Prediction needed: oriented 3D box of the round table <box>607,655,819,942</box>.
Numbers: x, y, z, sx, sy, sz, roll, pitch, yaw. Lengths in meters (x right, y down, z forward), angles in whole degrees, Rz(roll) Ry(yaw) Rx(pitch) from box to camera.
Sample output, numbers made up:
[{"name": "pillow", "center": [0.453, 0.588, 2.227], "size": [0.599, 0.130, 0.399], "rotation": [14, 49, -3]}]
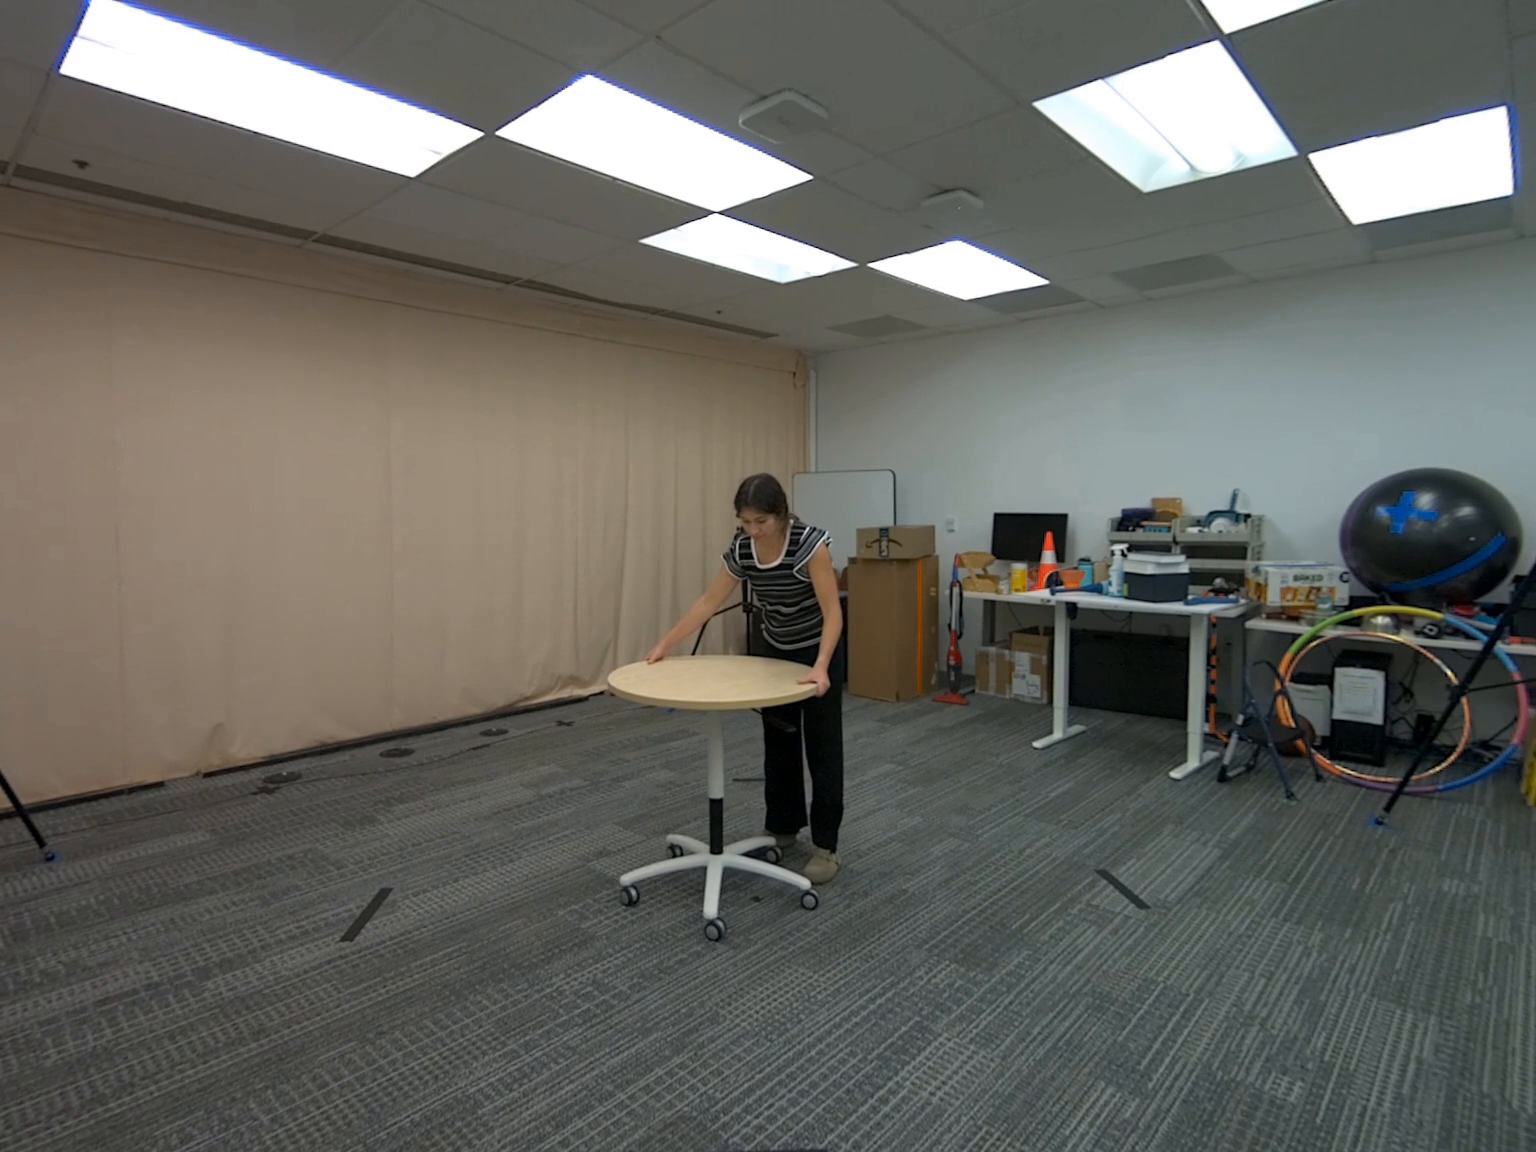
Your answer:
[{"name": "round table", "center": [-0.188, 0.751, 3.025], "size": [0.763, 0.792, 0.767], "rotation": [0, 4, -2]}]
